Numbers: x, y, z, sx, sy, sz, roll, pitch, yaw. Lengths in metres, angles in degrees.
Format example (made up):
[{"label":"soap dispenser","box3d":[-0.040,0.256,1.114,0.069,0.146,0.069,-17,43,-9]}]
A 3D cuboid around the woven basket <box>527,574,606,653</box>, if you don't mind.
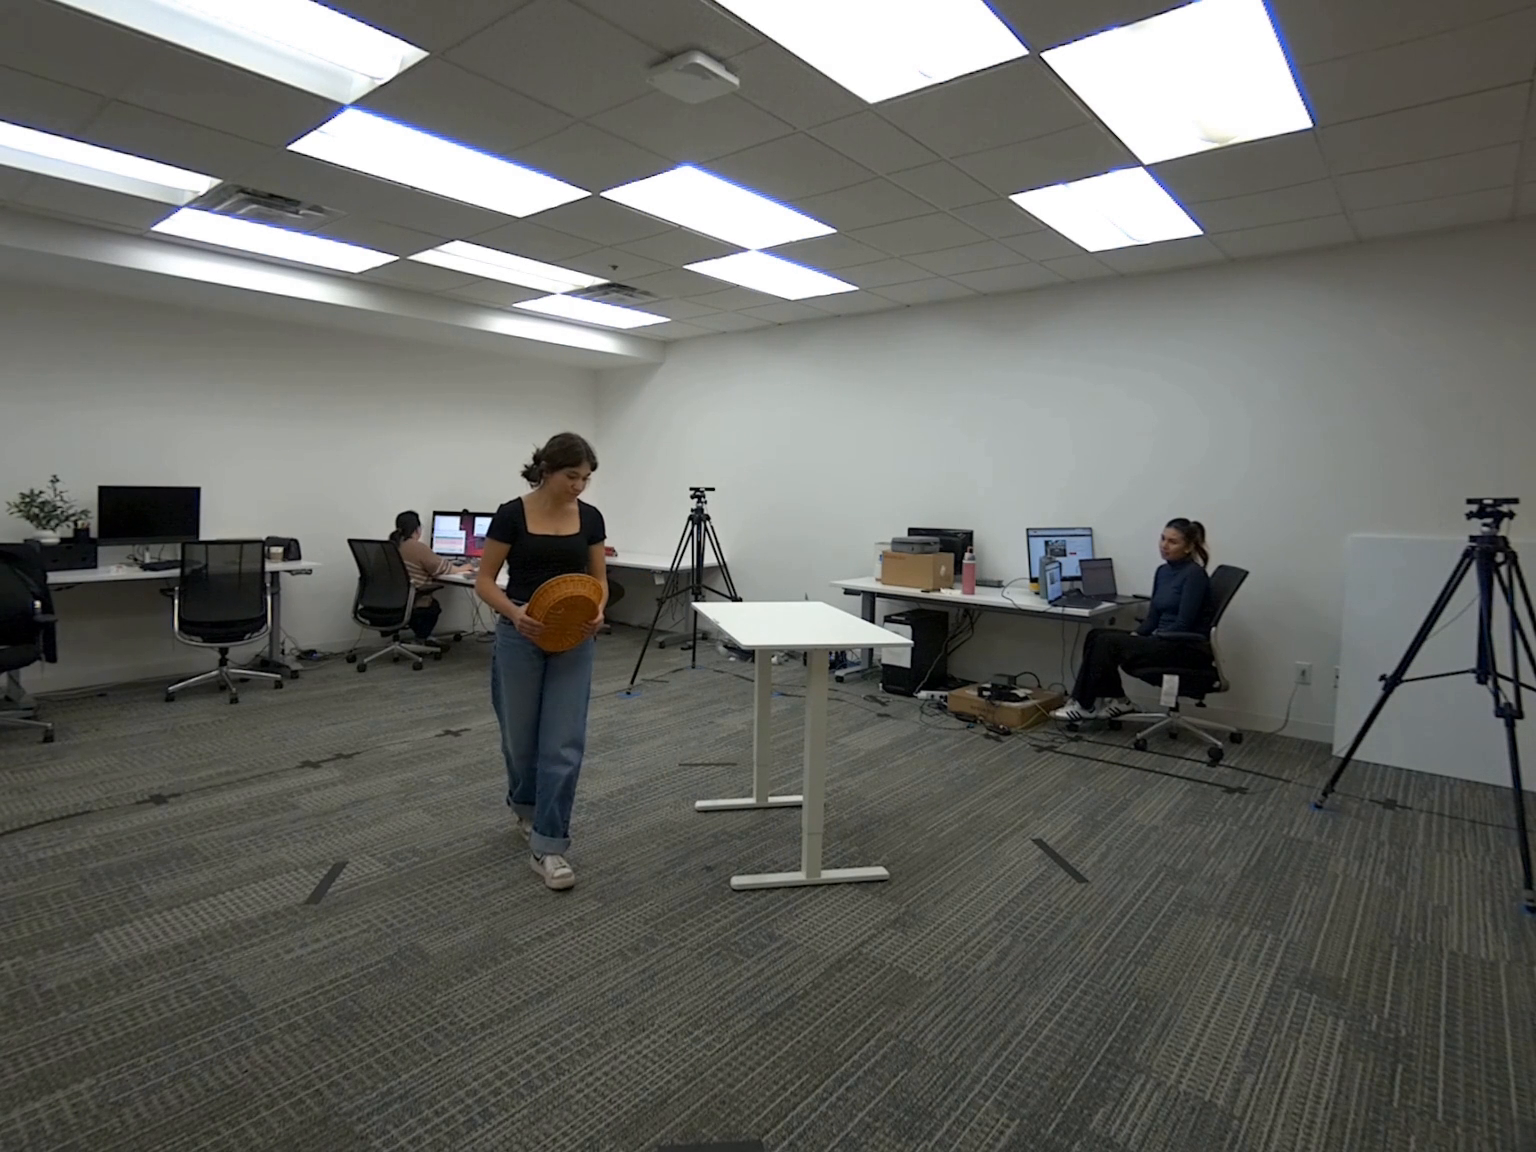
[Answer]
[{"label":"woven basket","box3d":[-0.706,0.134,2.873,0.247,0.344,0.076,-5,46,-25]}]
